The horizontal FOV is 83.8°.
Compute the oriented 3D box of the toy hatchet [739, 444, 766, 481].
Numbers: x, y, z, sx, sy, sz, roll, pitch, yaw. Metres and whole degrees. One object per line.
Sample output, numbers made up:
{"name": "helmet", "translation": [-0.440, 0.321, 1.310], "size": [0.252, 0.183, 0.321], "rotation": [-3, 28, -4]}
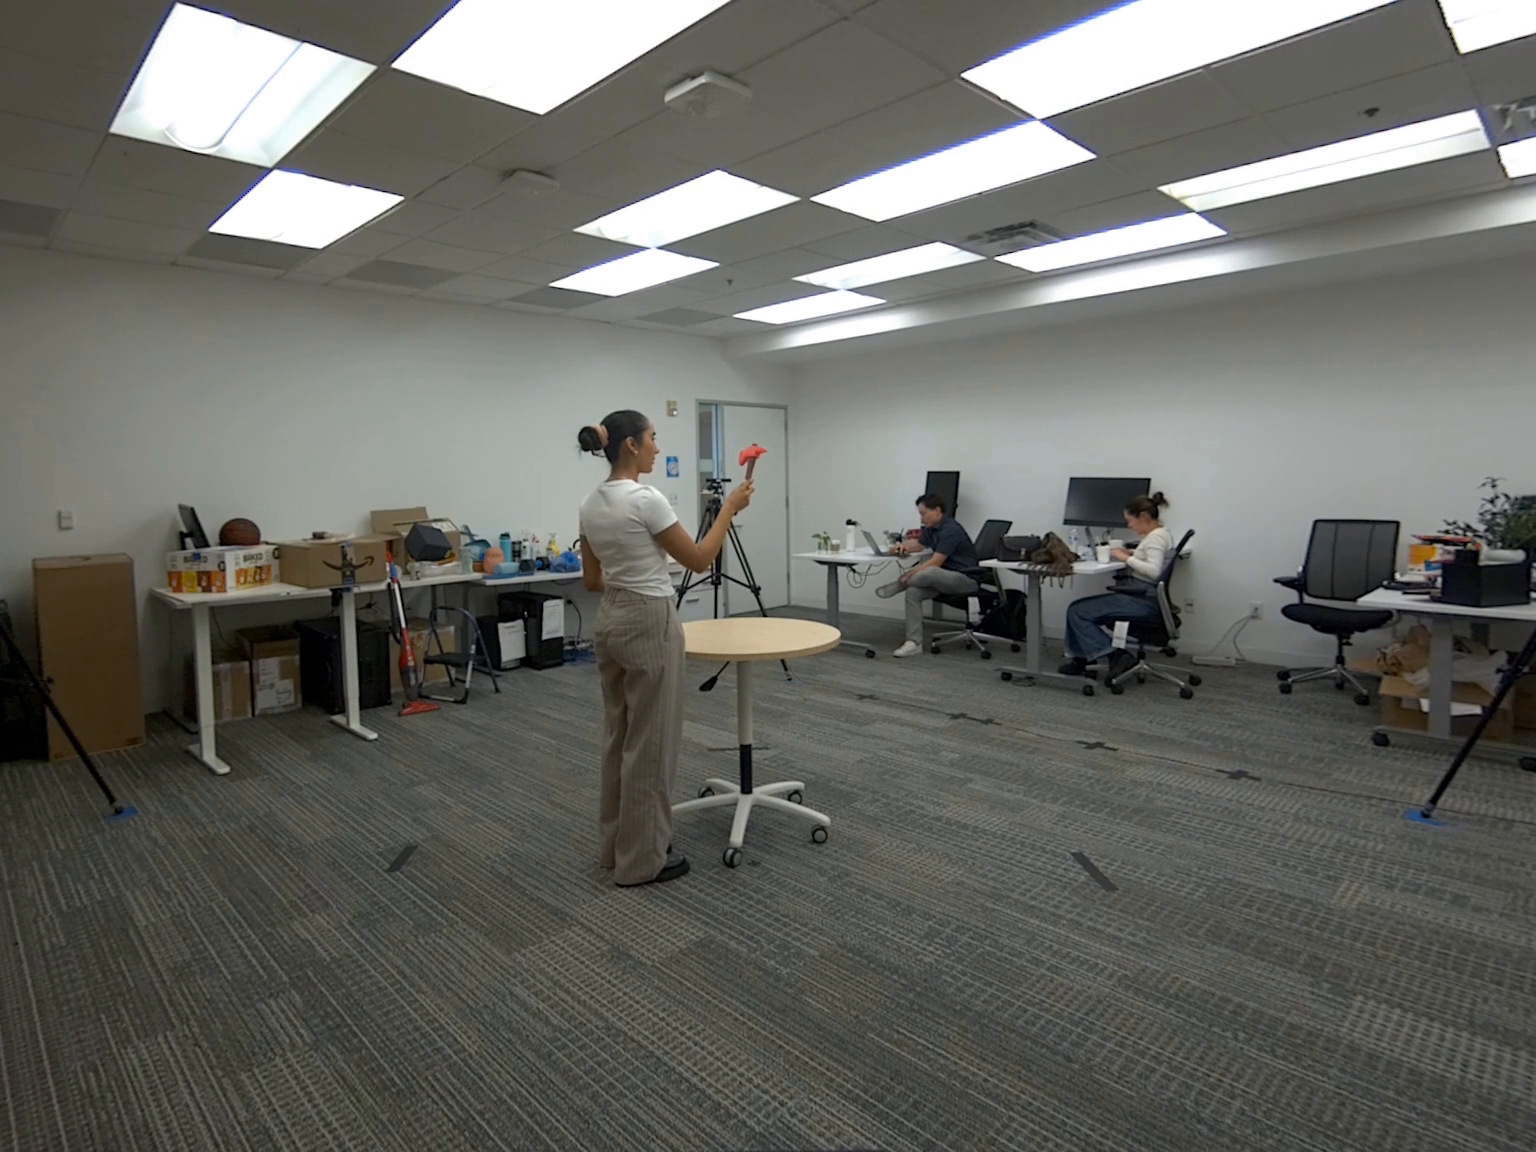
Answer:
{"name": "toy hatchet", "translation": [-0.100, -0.362, 3.128], "size": [0.136, 0.270, 0.028], "rotation": [27, -1, 44]}
